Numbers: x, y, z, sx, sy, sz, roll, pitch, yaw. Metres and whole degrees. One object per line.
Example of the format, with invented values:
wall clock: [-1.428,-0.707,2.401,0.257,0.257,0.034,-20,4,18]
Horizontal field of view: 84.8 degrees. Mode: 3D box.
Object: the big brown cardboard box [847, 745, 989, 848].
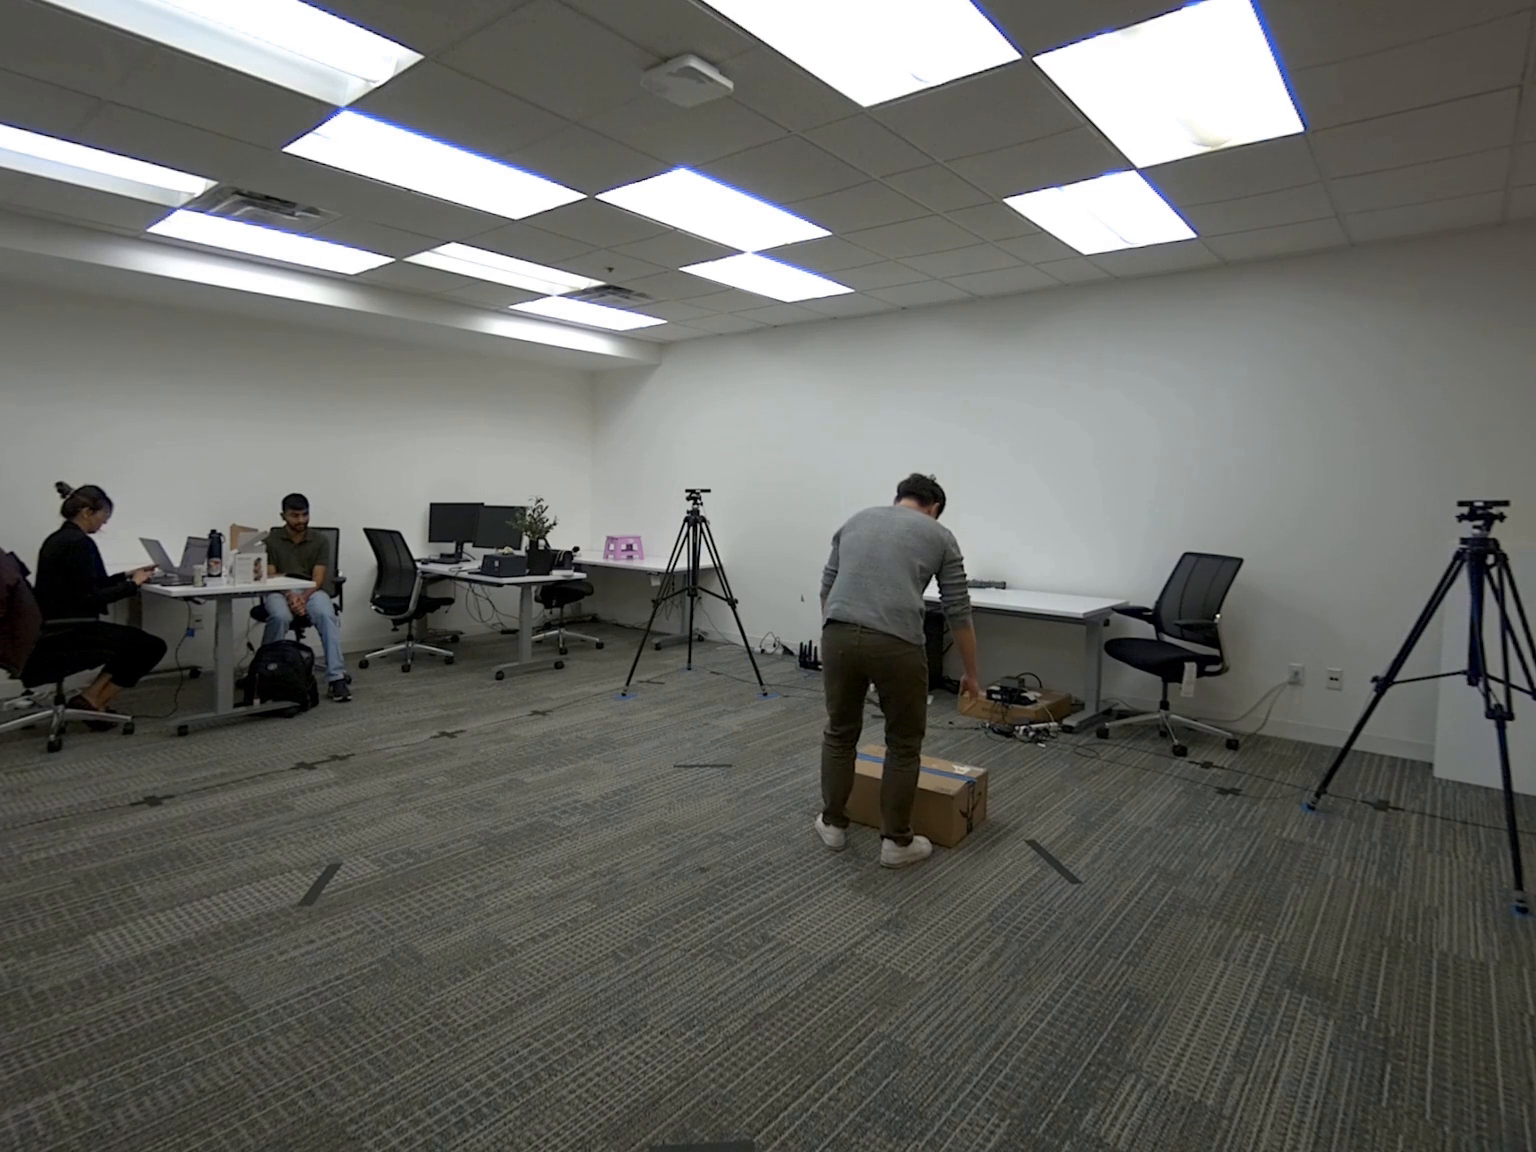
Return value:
big brown cardboard box: [0.595,0.922,3.668,0.607,0.232,0.406,4,5,33]
